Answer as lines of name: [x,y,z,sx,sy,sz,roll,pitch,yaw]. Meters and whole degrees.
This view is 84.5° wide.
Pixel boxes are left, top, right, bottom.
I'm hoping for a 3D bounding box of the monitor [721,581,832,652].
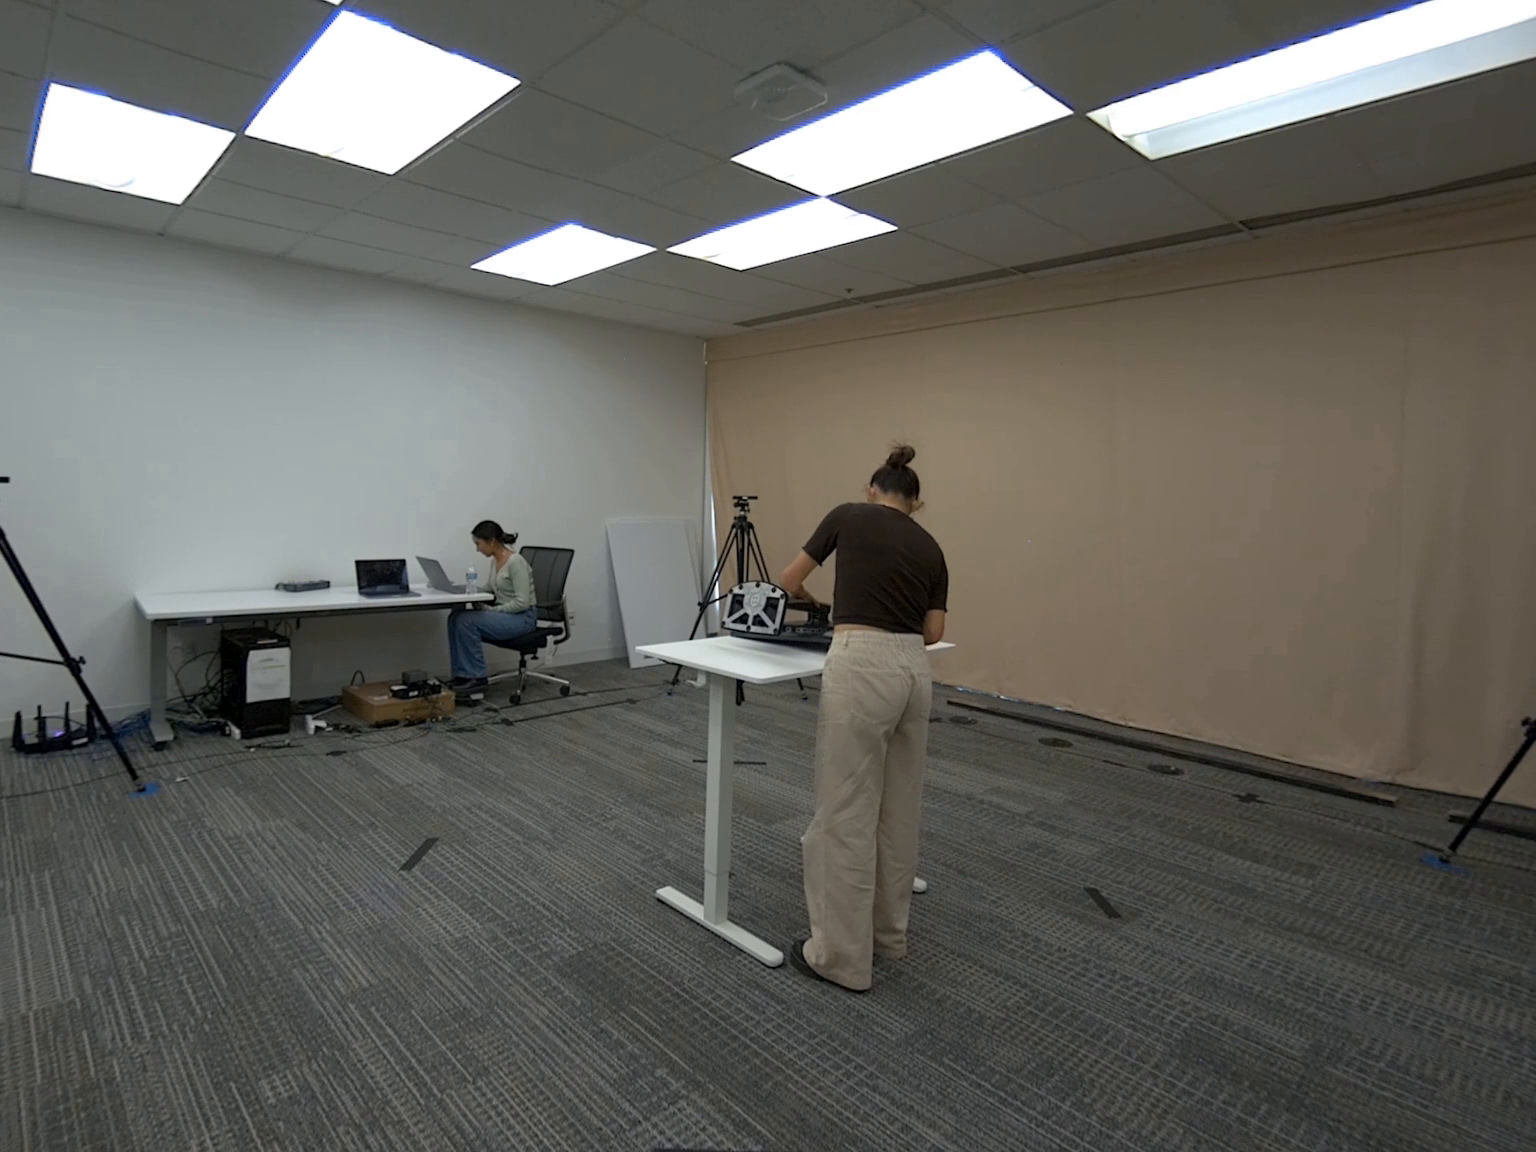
monitor: [0.108,0.162,2.965,0.552,0.188,0.507,4,-11,45]
